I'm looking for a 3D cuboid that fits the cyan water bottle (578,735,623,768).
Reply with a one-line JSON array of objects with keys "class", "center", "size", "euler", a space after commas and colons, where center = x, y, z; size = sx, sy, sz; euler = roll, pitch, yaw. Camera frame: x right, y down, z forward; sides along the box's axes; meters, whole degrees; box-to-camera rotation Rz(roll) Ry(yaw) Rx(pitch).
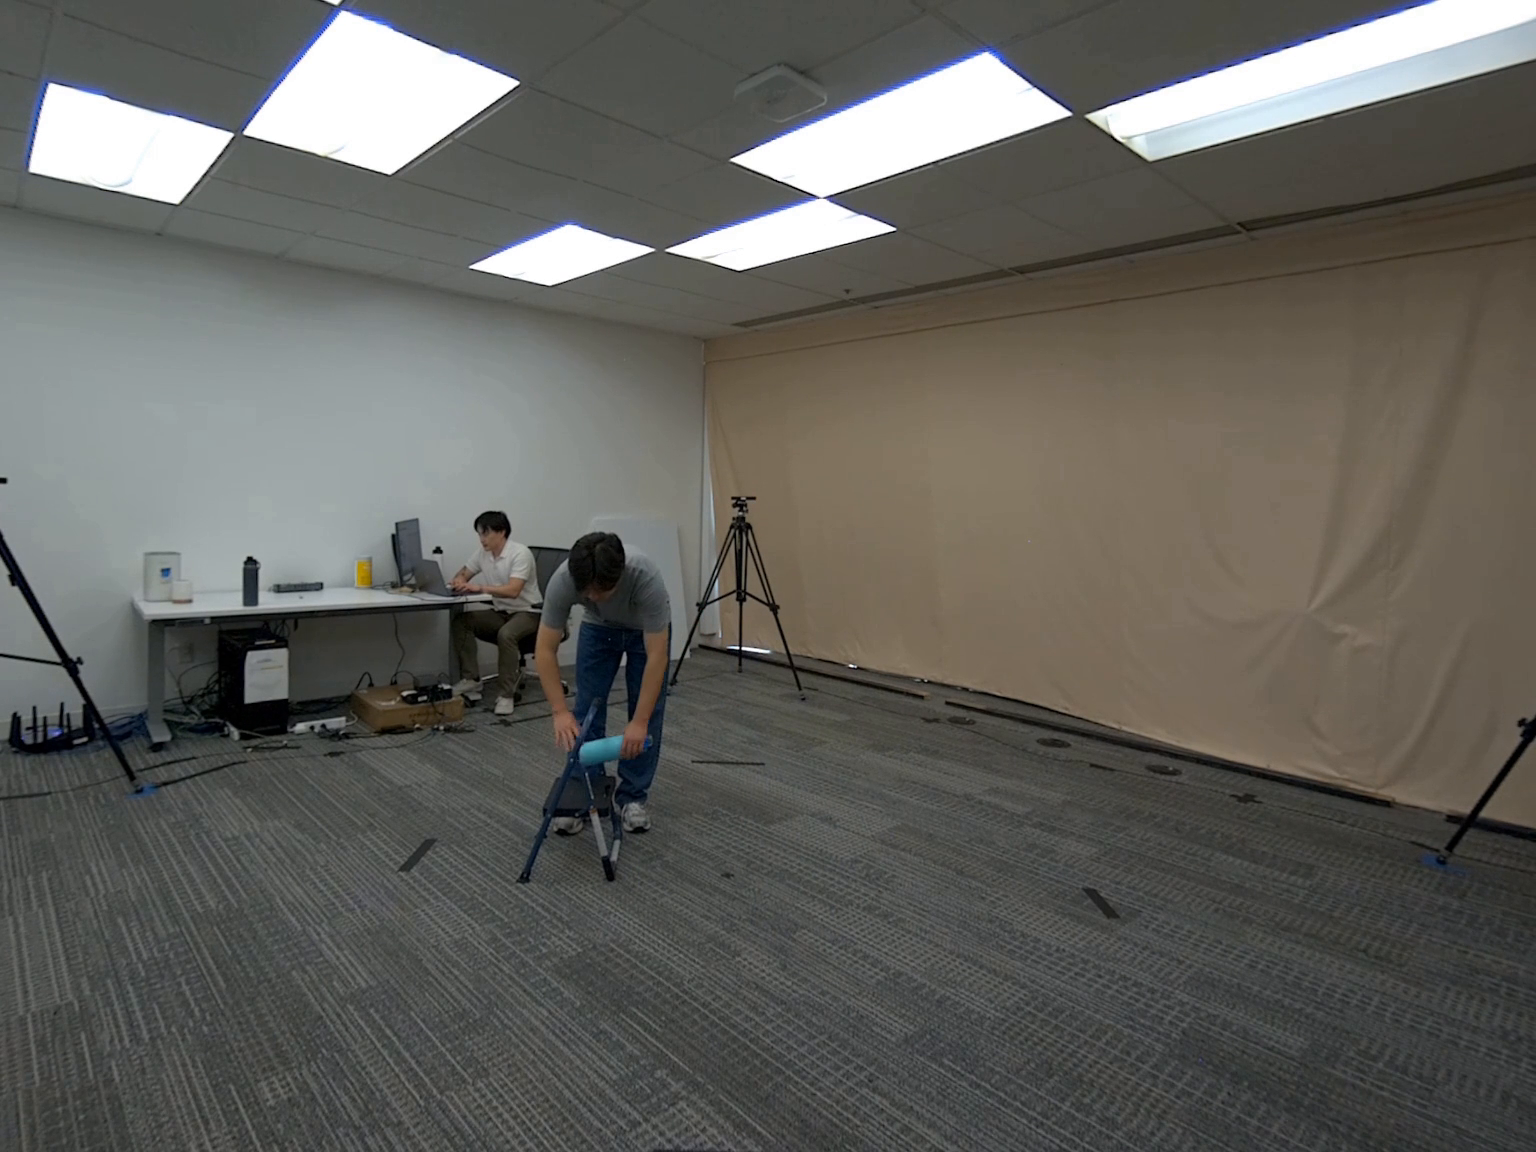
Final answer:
[{"class": "cyan water bottle", "center": [-0.586, 0.660, 3.234], "size": [0.280, 0.092, 0.094], "euler": [-9, 8, -20]}]
